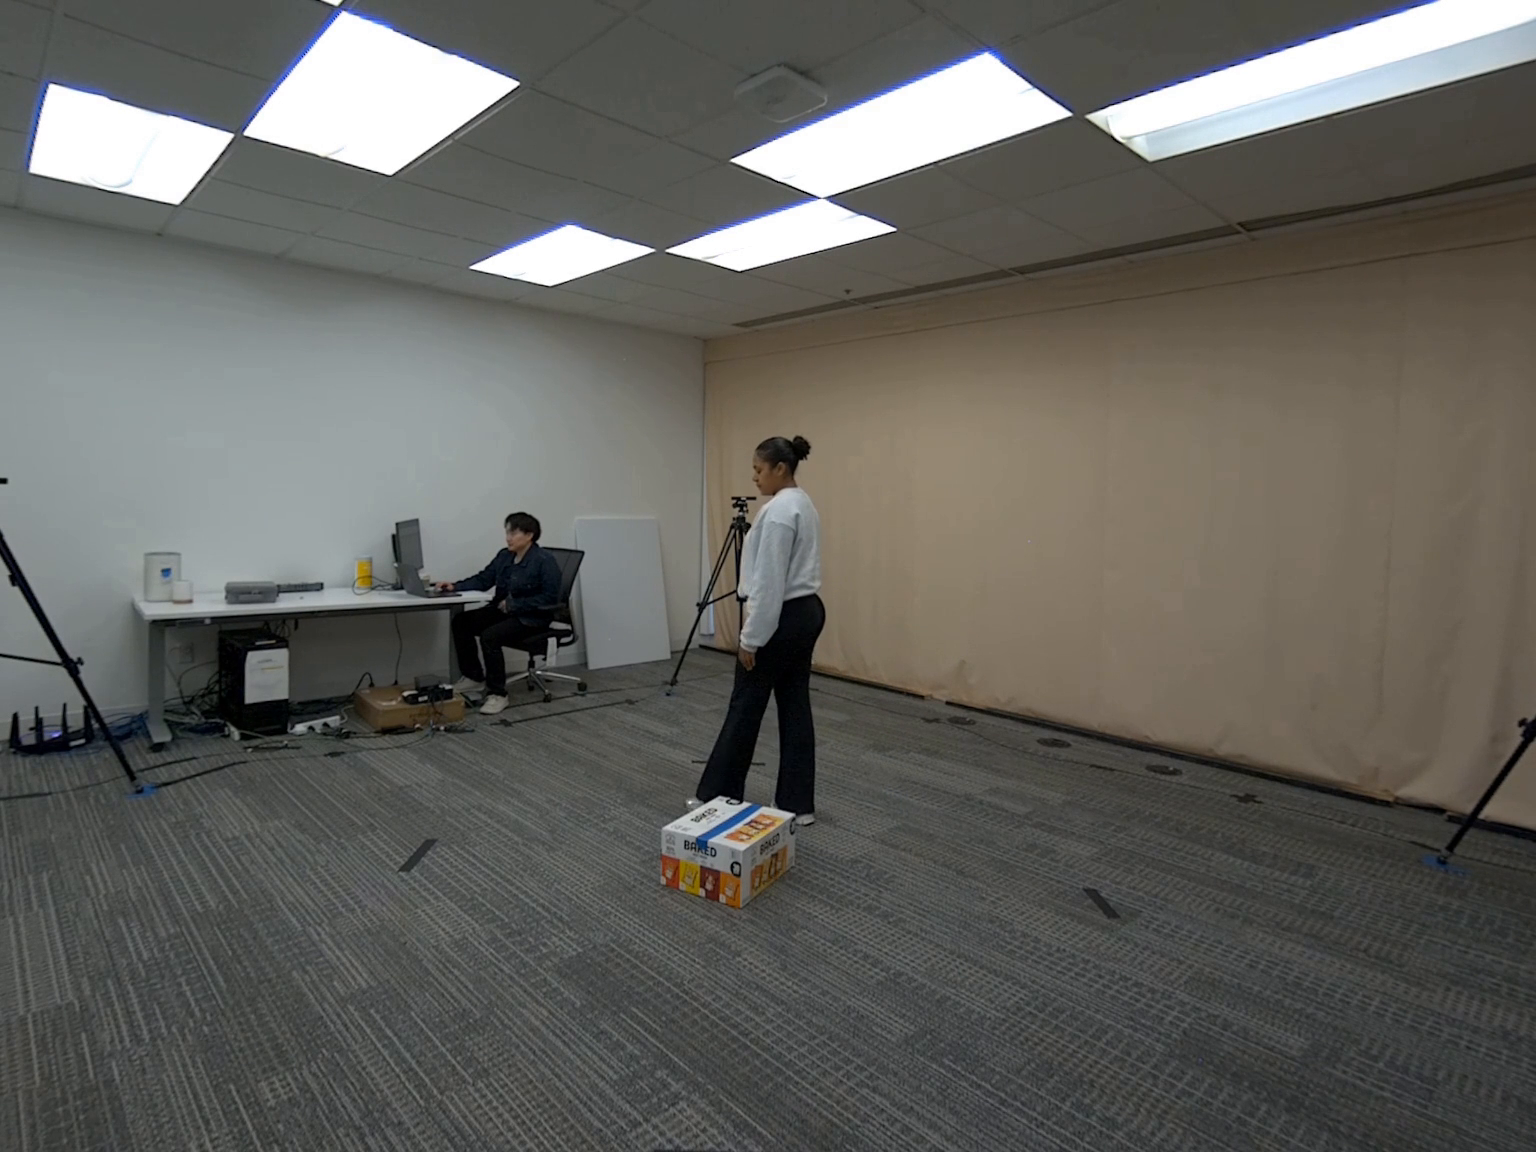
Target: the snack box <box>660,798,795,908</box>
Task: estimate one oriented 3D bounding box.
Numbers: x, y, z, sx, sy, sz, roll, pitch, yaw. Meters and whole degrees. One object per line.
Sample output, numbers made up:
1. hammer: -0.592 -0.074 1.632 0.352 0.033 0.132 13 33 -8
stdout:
1. snack box: -0.149 1.006 3.101 0.348 0.205 0.397 4 5 29
